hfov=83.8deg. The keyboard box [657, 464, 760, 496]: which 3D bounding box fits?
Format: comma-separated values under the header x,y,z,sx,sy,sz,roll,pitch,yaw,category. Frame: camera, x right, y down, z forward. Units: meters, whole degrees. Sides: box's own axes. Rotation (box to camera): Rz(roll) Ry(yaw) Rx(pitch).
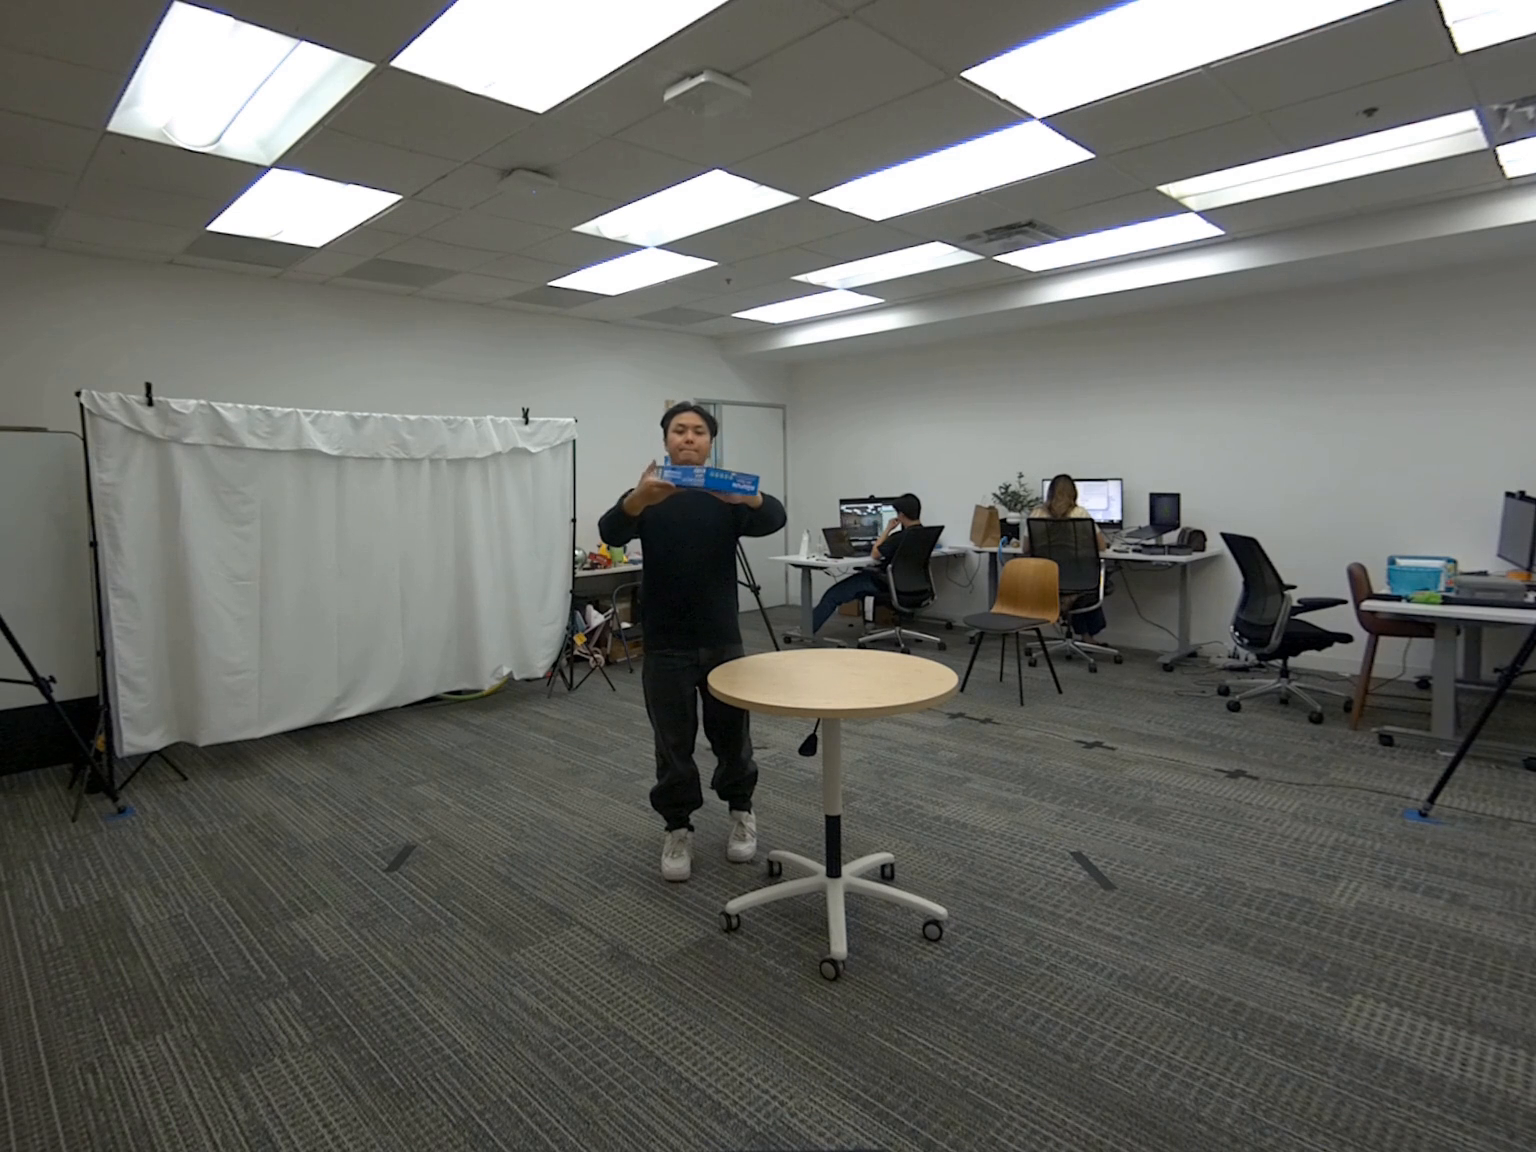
x,y,z,sx,sy,sz,roll,pitch,yaw,category
-0.206,-0.296,2.616,0.171,0.059,0.449,6,4,-28,keyboard box
